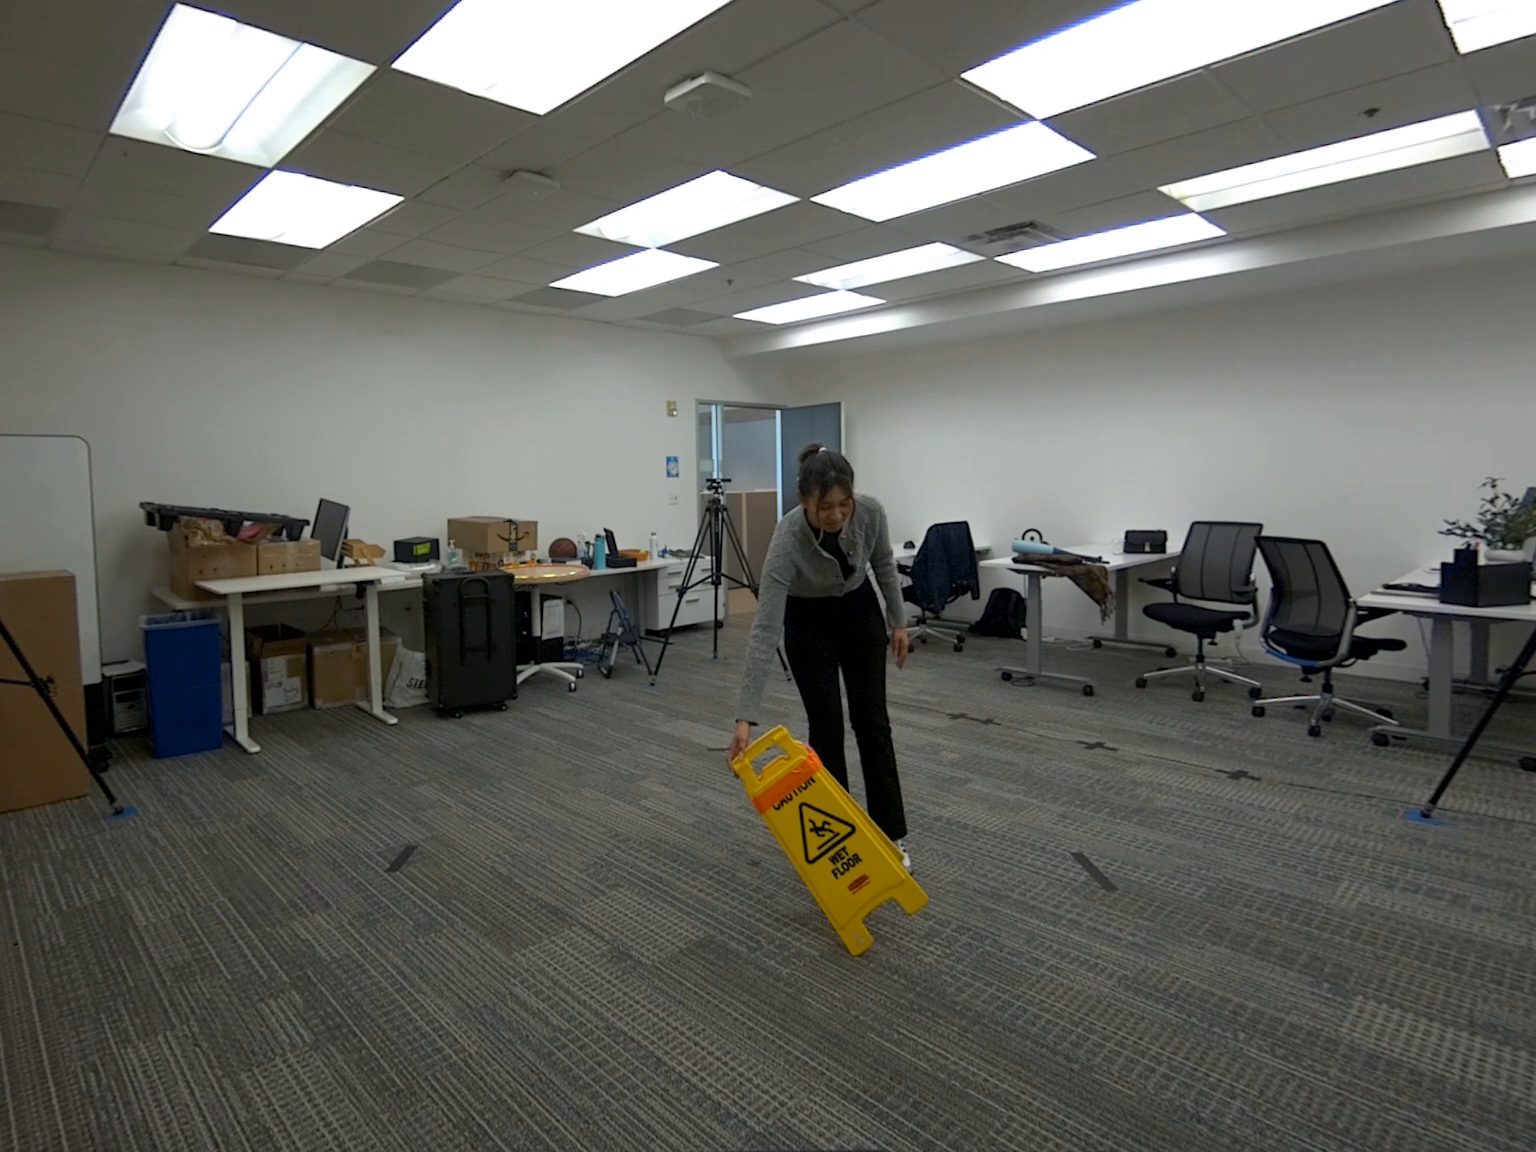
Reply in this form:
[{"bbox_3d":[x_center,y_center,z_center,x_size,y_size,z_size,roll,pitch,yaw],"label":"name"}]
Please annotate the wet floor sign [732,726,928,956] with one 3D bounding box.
[{"bbox_3d":[0.159,0.764,2.606,0.282,0.640,0.292,-38,7,1],"label":"wet floor sign"}]
